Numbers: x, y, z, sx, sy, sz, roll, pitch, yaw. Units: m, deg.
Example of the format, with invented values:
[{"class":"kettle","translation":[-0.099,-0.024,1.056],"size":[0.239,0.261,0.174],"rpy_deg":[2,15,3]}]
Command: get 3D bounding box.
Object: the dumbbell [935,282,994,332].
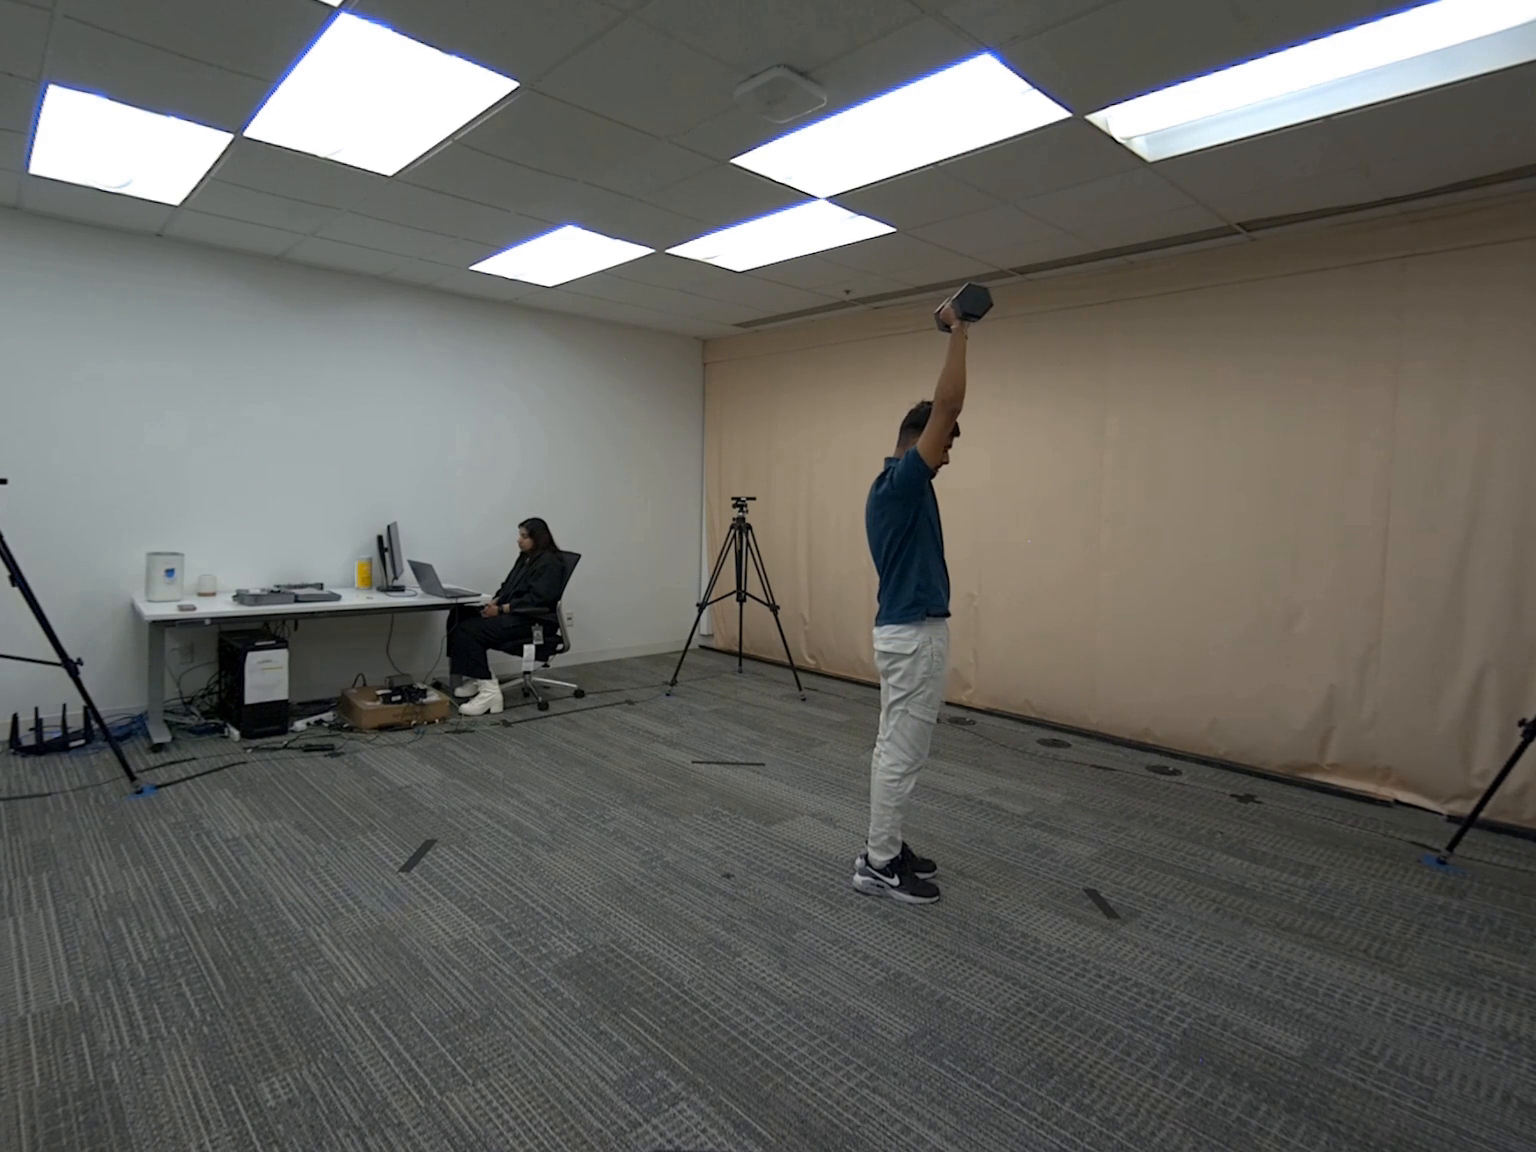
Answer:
[{"class":"dumbbell","translation":[0.622,-0.869,2.760],"size":[0.123,0.108,0.294],"rpy_deg":[11,5,-2]}]
